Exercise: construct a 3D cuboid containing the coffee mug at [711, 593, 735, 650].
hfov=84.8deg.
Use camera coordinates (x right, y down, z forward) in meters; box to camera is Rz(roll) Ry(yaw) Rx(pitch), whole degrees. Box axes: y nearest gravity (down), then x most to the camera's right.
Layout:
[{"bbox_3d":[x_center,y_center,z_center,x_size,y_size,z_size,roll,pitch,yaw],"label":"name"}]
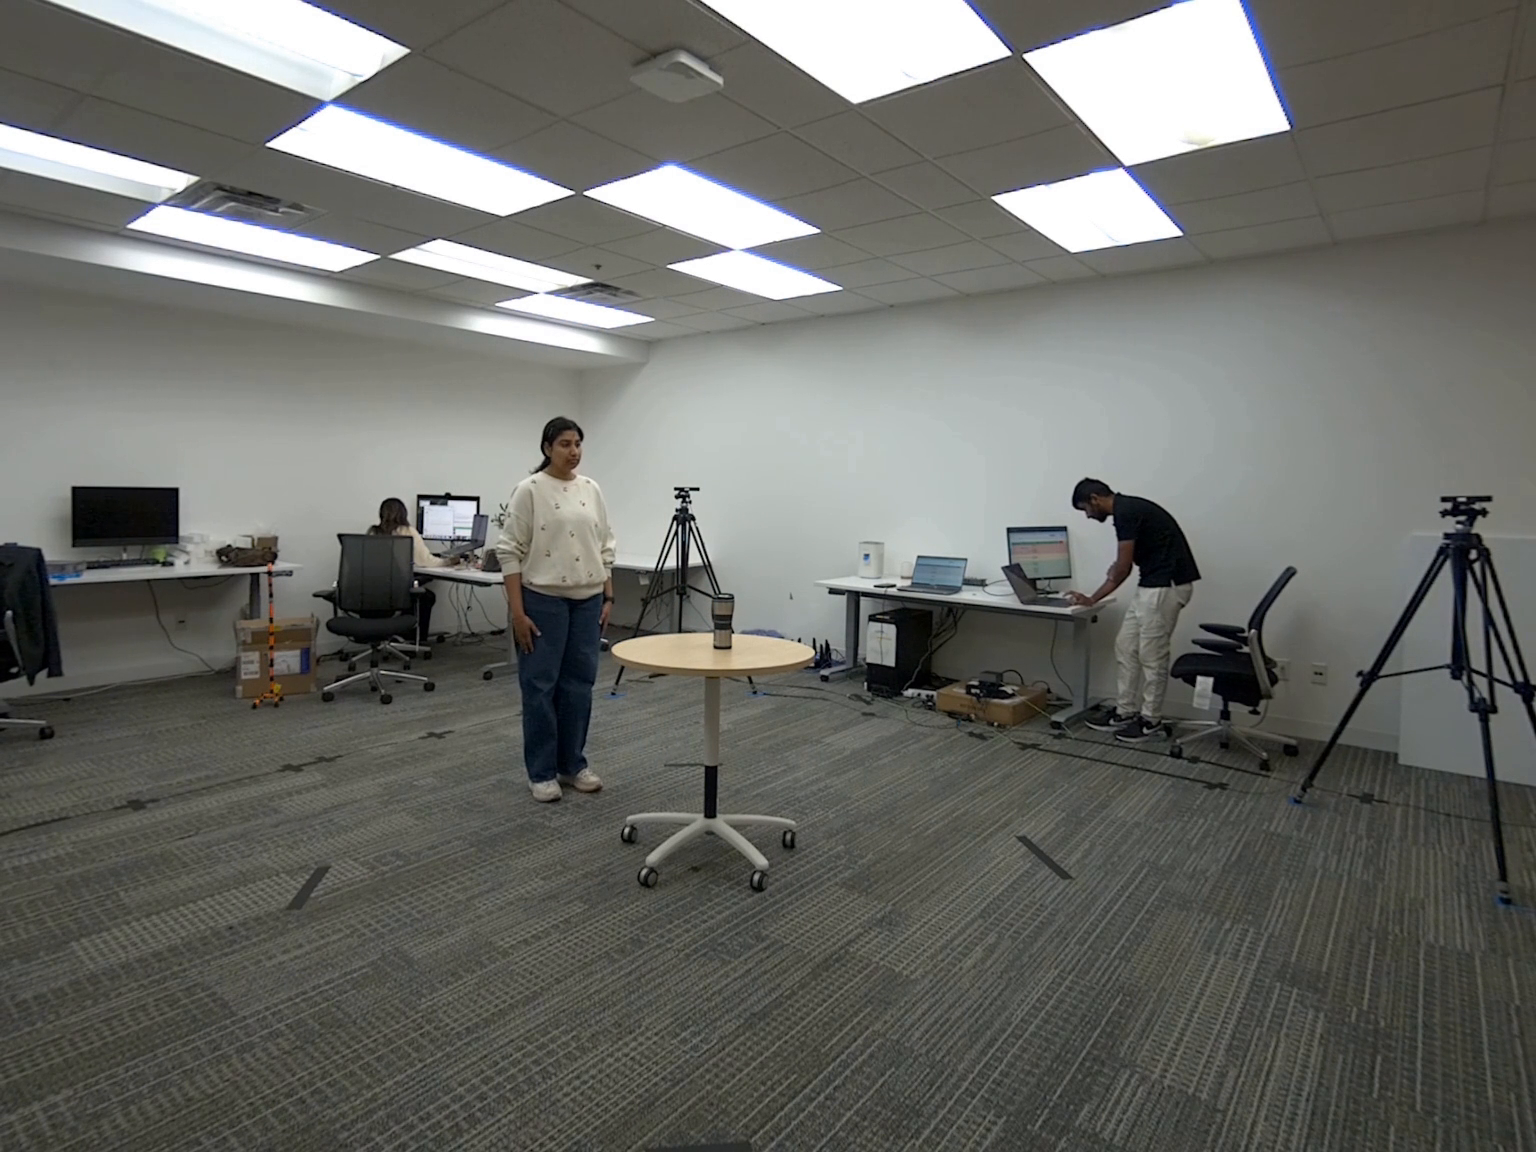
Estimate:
[{"bbox_3d":[-0.178,0.170,3.254,0.089,0.202,0.121,0,6,10],"label":"coffee mug"}]
